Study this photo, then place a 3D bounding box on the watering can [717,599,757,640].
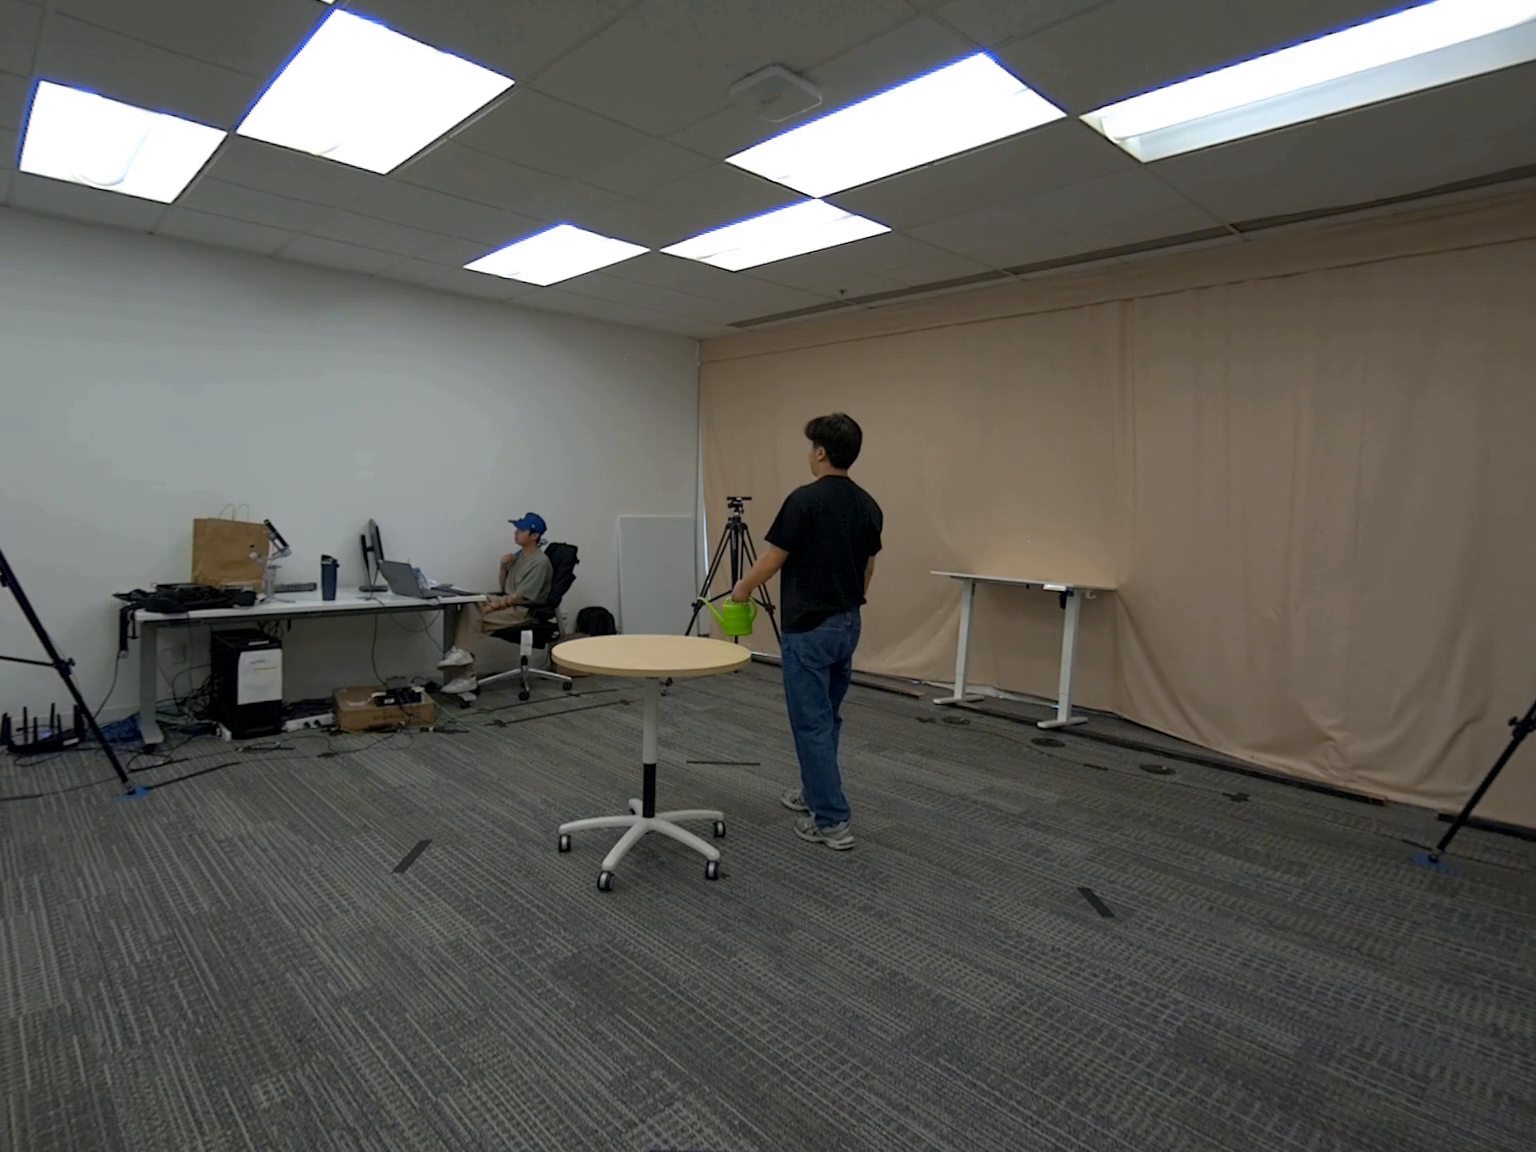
[{"bbox_3d":[-0.178,0.174,3.782,0.284,0.176,0.096,0,4,31],"label":"watering can"}]
